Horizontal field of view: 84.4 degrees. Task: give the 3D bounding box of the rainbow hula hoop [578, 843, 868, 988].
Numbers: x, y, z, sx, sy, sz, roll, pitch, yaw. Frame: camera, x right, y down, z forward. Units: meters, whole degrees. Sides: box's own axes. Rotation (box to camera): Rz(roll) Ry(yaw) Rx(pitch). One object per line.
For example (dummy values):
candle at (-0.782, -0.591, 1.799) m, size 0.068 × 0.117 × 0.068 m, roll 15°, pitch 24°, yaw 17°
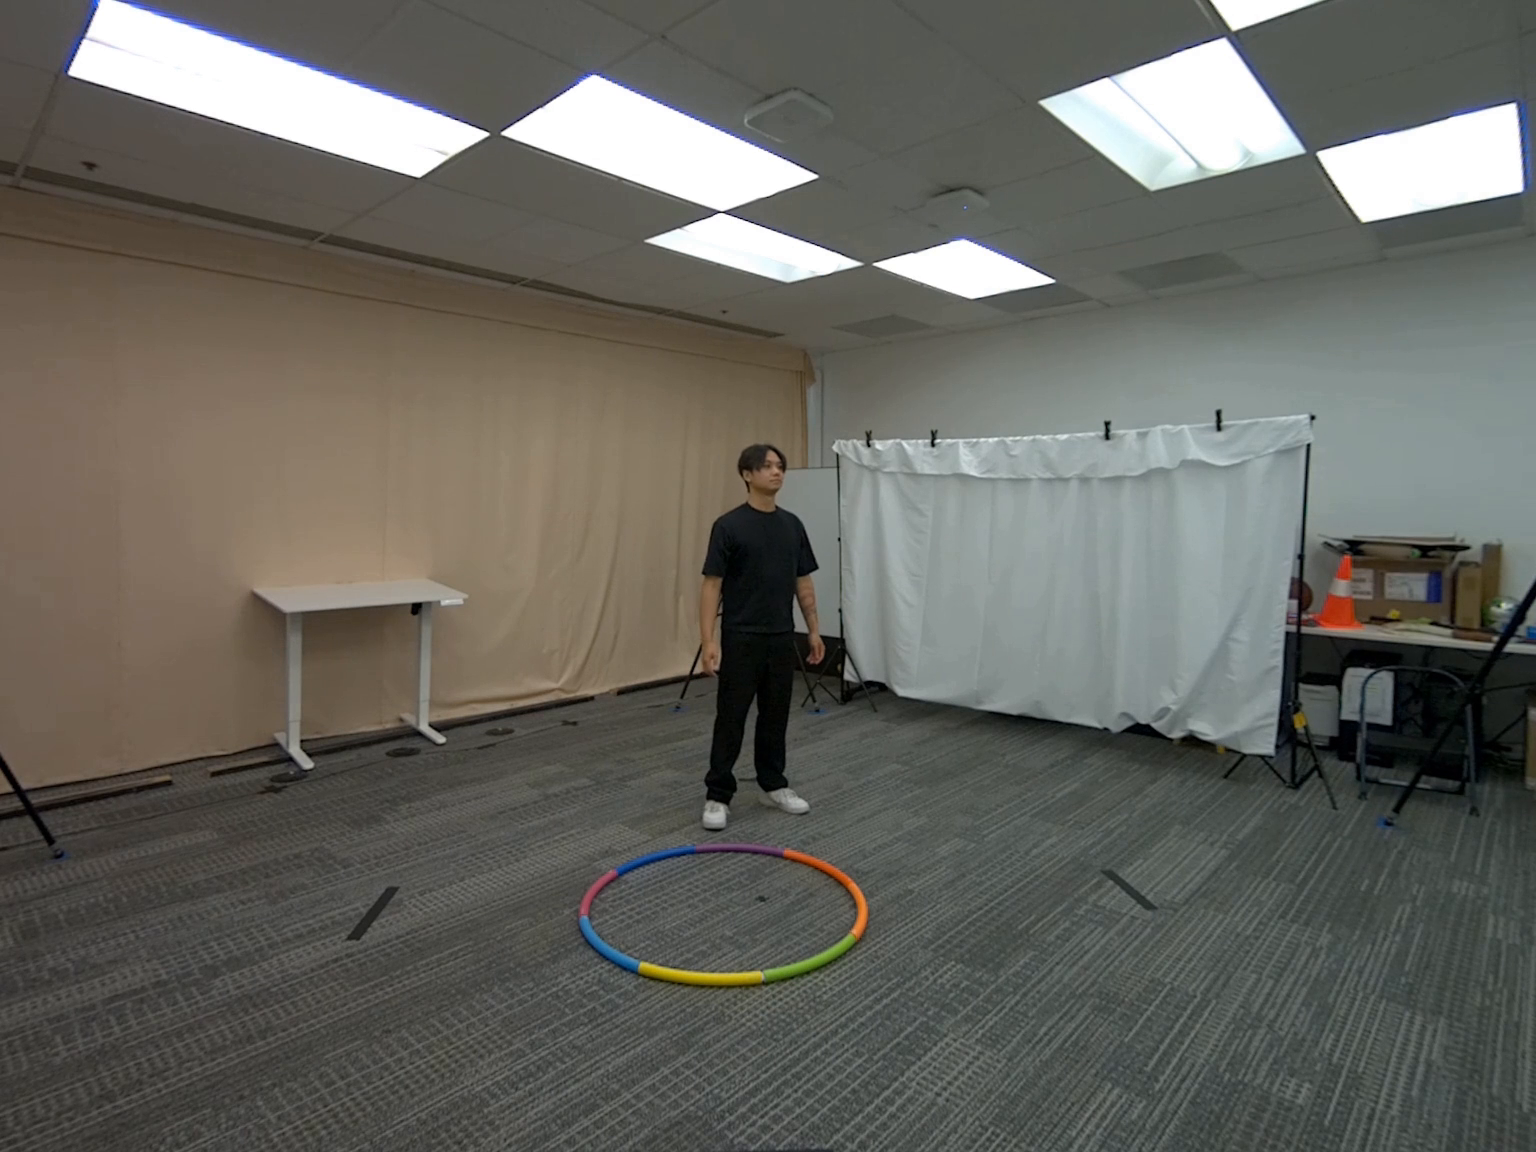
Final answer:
rainbow hula hoop at (-0.149, 1.119, 2.920) m, size 0.978 × 0.035 × 0.982 m, roll -1°, pitch 5°, yaw -2°
